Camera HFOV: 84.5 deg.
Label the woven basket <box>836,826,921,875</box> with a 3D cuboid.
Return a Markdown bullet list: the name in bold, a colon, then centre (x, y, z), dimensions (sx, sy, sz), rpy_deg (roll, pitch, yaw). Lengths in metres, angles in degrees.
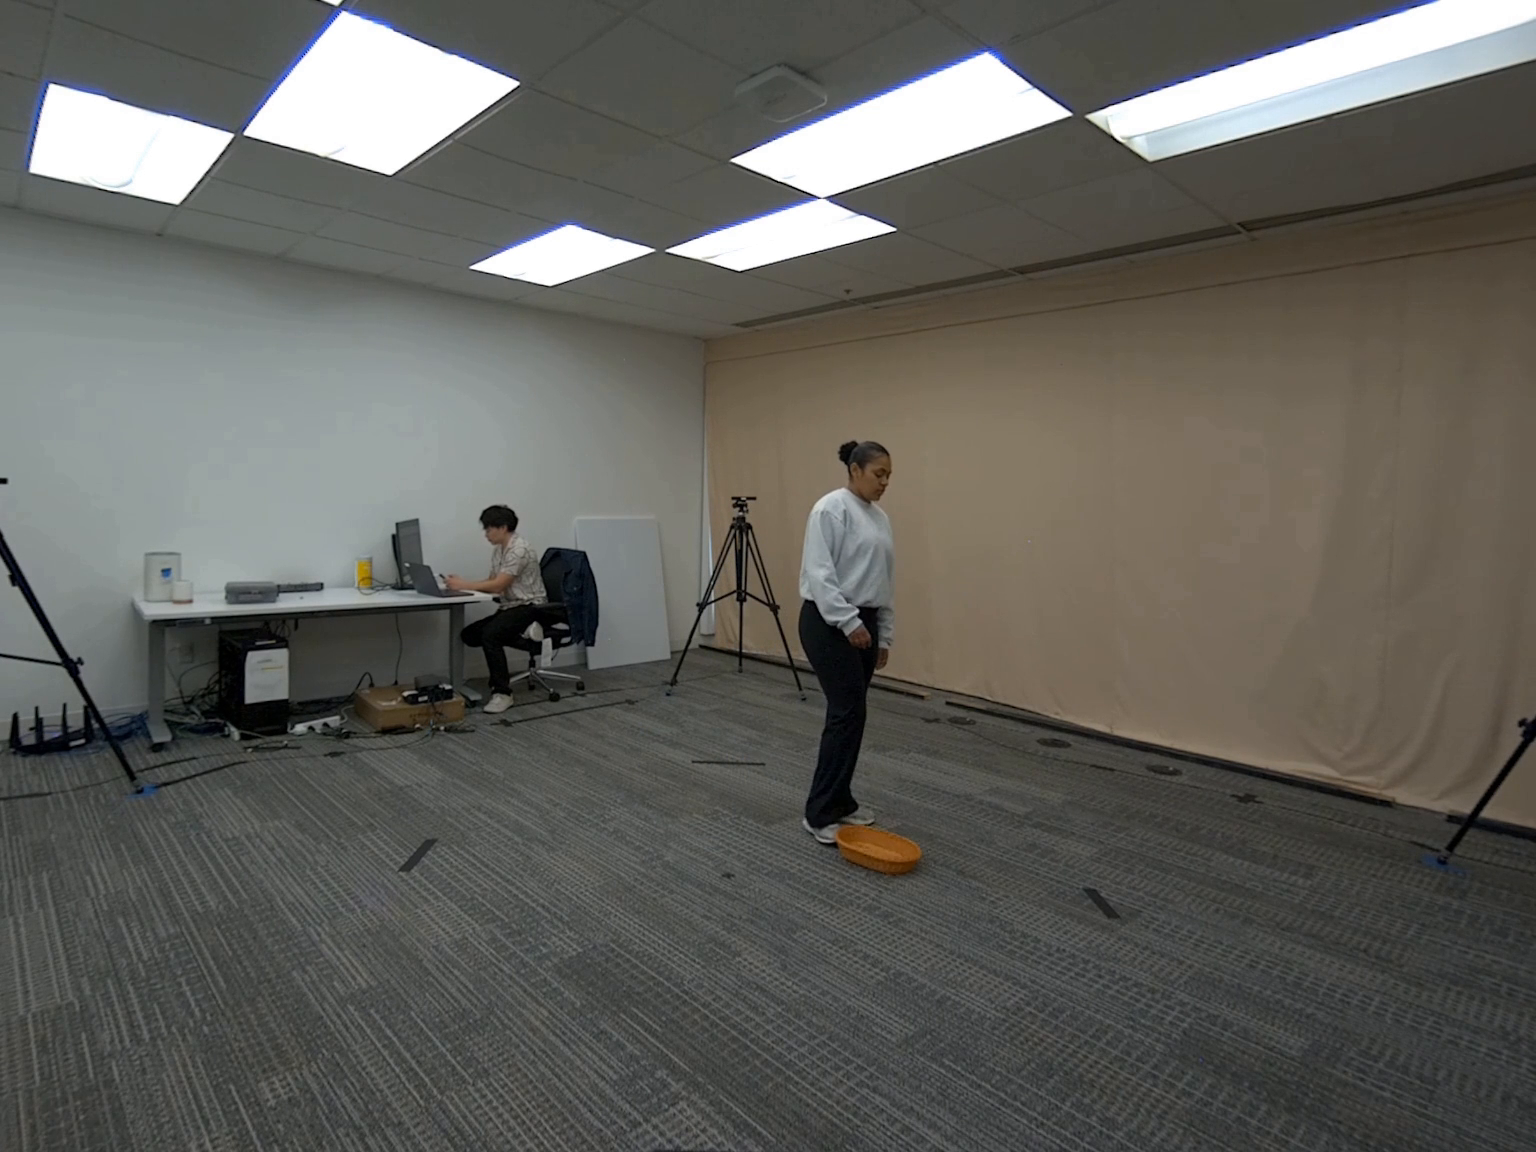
- **woven basket**: centre (0.411, 1.063, 3.249), dimensions (0.359, 0.073, 0.247), rpy_deg (8, 8, 32)
